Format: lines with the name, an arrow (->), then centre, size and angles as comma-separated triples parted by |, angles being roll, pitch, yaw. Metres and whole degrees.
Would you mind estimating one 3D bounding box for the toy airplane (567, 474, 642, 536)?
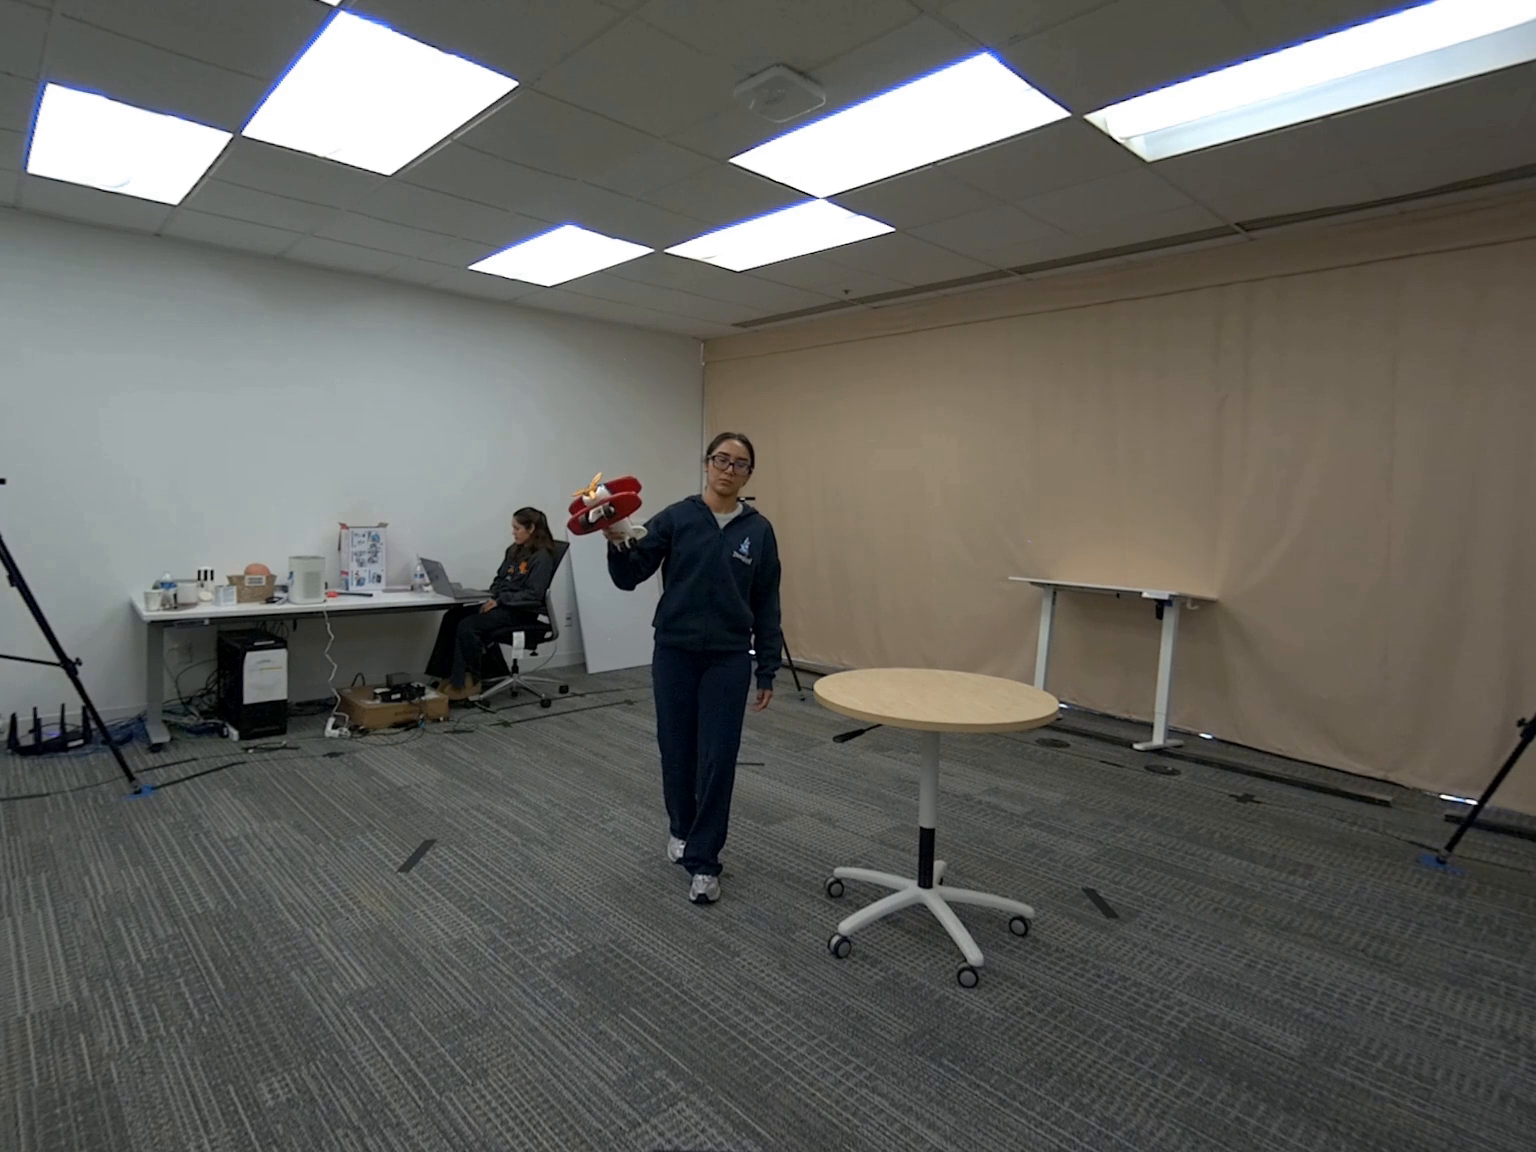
toy airplane -> -0.523, -0.178, 2.697 | 0.250, 0.160, 0.254 | -8, -34, -8
